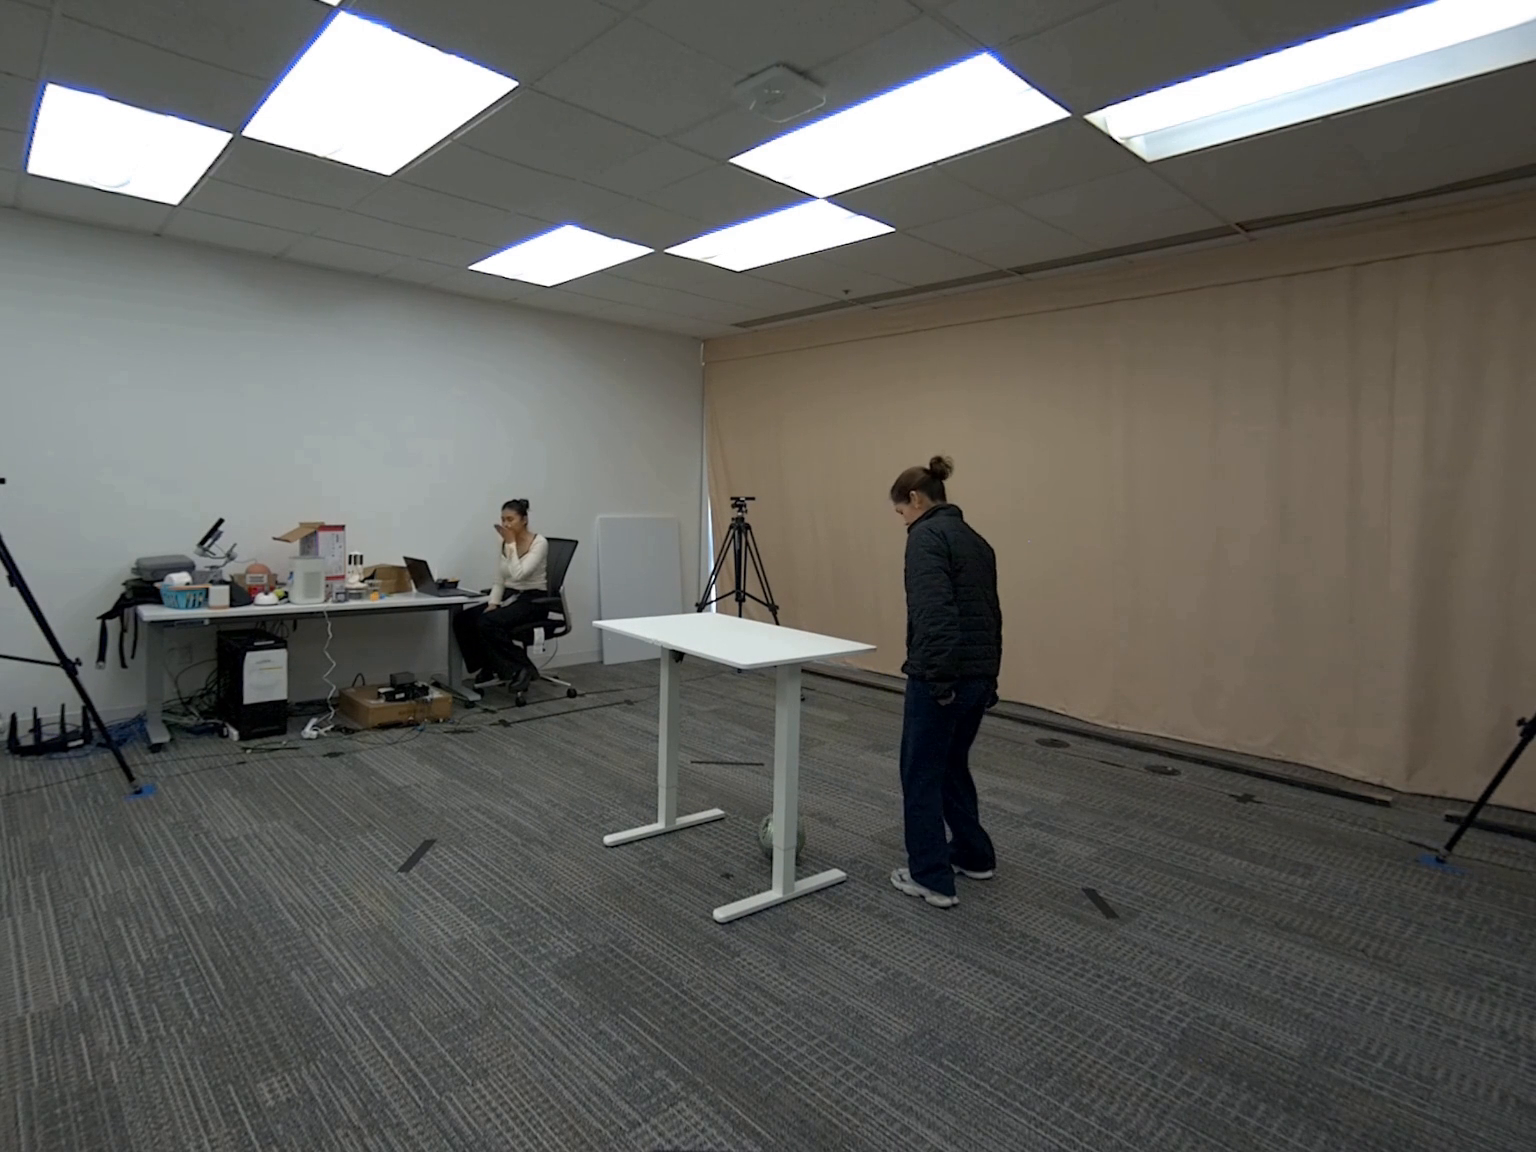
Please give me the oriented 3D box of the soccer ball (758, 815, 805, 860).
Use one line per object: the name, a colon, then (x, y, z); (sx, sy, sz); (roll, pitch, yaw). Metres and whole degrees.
soccer ball: (0.051, 1.002, 3.251); (0.187, 0.187, 0.188); (1, 4, -1)
